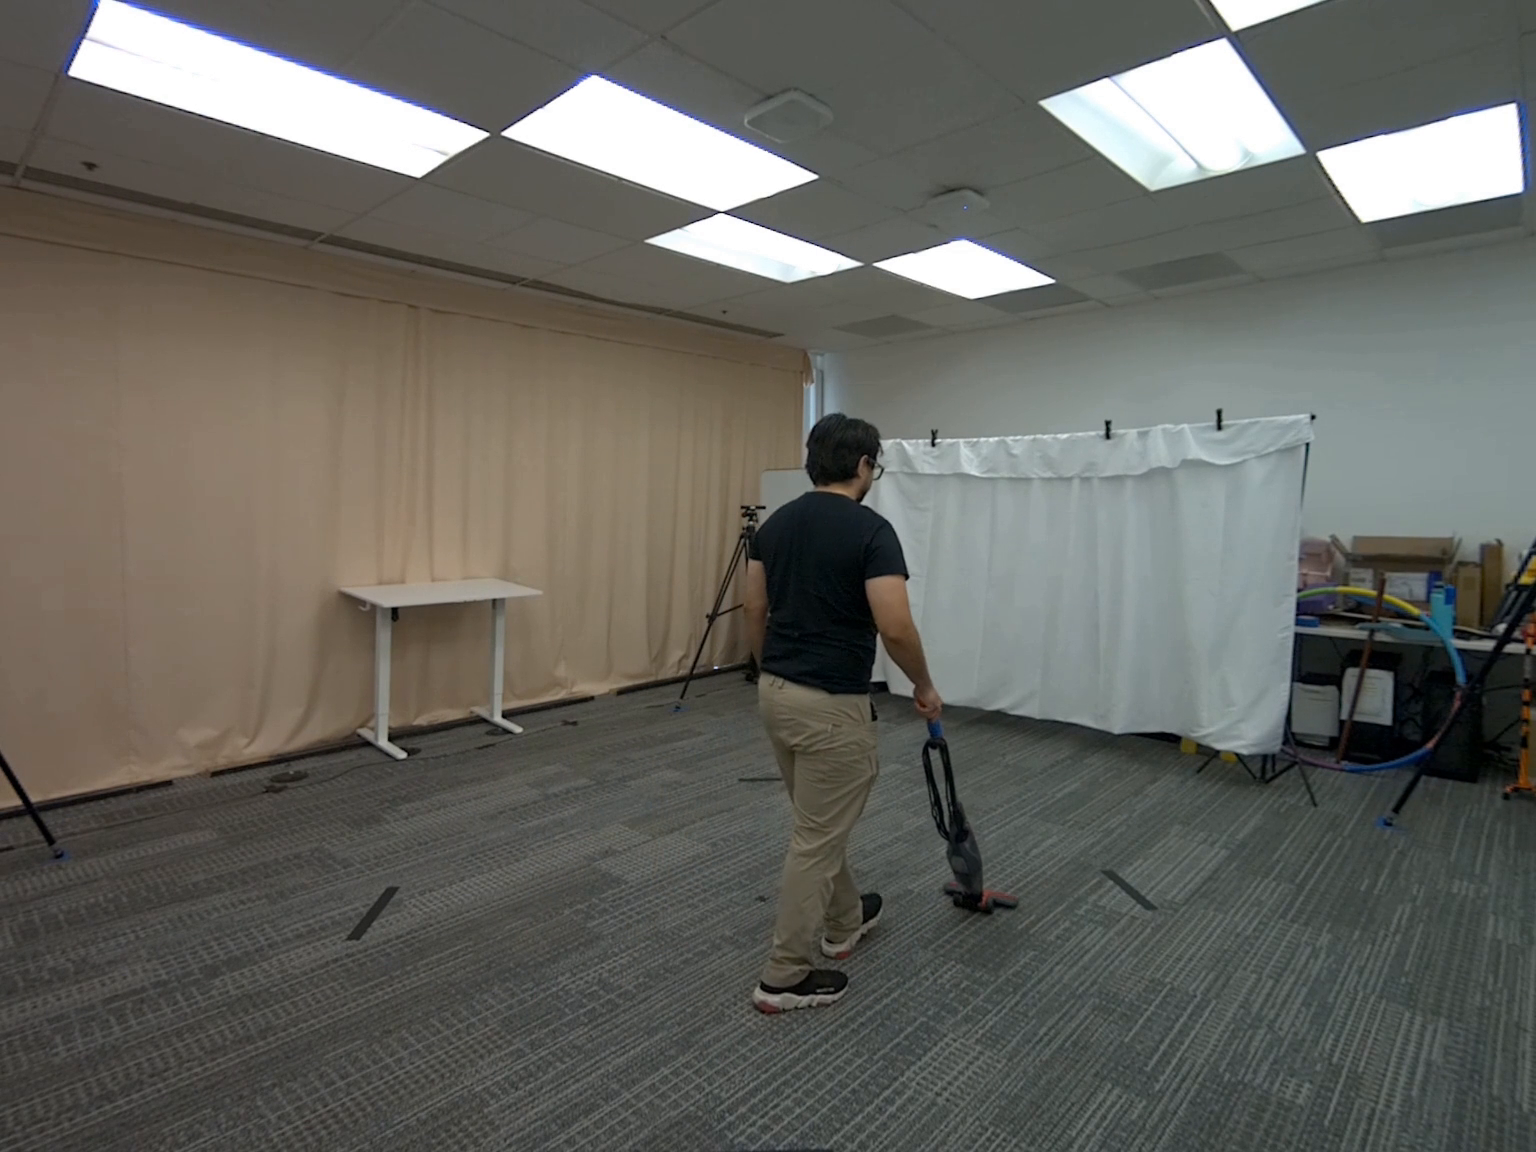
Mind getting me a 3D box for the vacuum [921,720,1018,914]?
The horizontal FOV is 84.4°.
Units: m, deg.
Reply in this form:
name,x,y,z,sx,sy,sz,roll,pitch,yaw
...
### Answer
name,x,y,z,sx,sy,sz,roll,pitch,yaw
vacuum,0.585,0.756,2.658,0.260,1.021,0.143,5,42,31
